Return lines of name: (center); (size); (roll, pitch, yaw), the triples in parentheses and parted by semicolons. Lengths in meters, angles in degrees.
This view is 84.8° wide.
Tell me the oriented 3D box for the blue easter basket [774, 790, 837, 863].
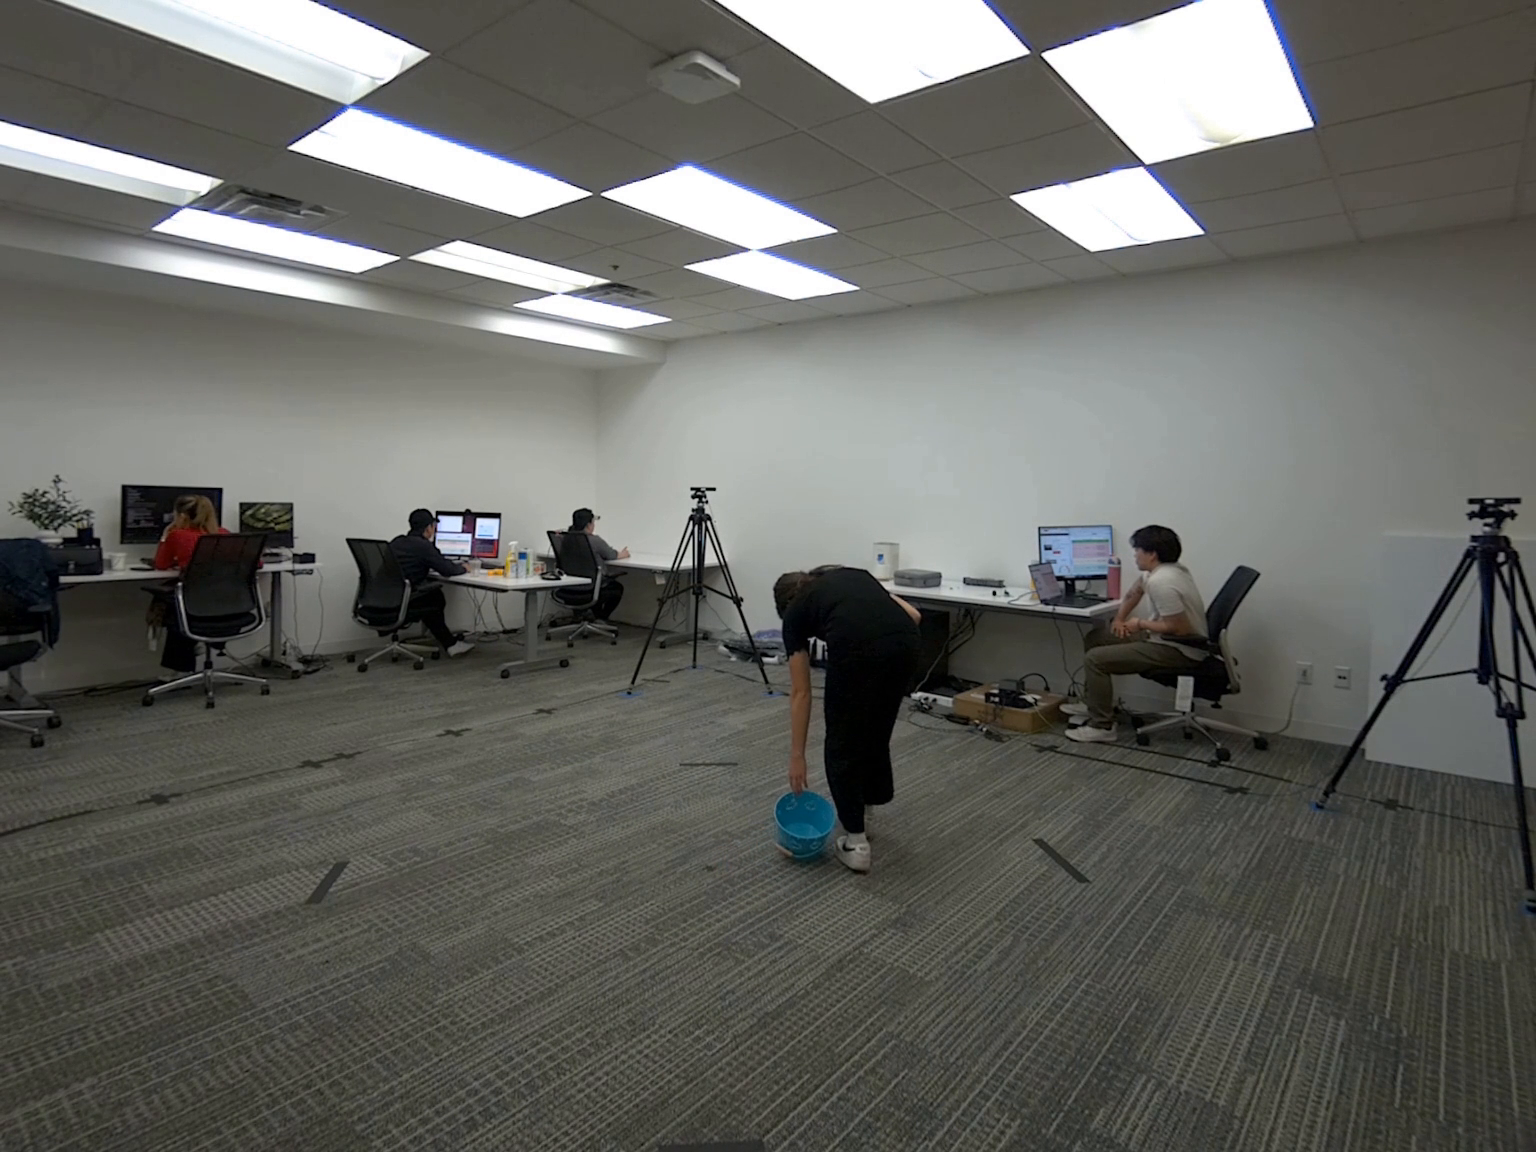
blue easter basket: (0.122, 0.954, 3.230); (0.243, 0.152, 0.249); (2, 28, -3)
